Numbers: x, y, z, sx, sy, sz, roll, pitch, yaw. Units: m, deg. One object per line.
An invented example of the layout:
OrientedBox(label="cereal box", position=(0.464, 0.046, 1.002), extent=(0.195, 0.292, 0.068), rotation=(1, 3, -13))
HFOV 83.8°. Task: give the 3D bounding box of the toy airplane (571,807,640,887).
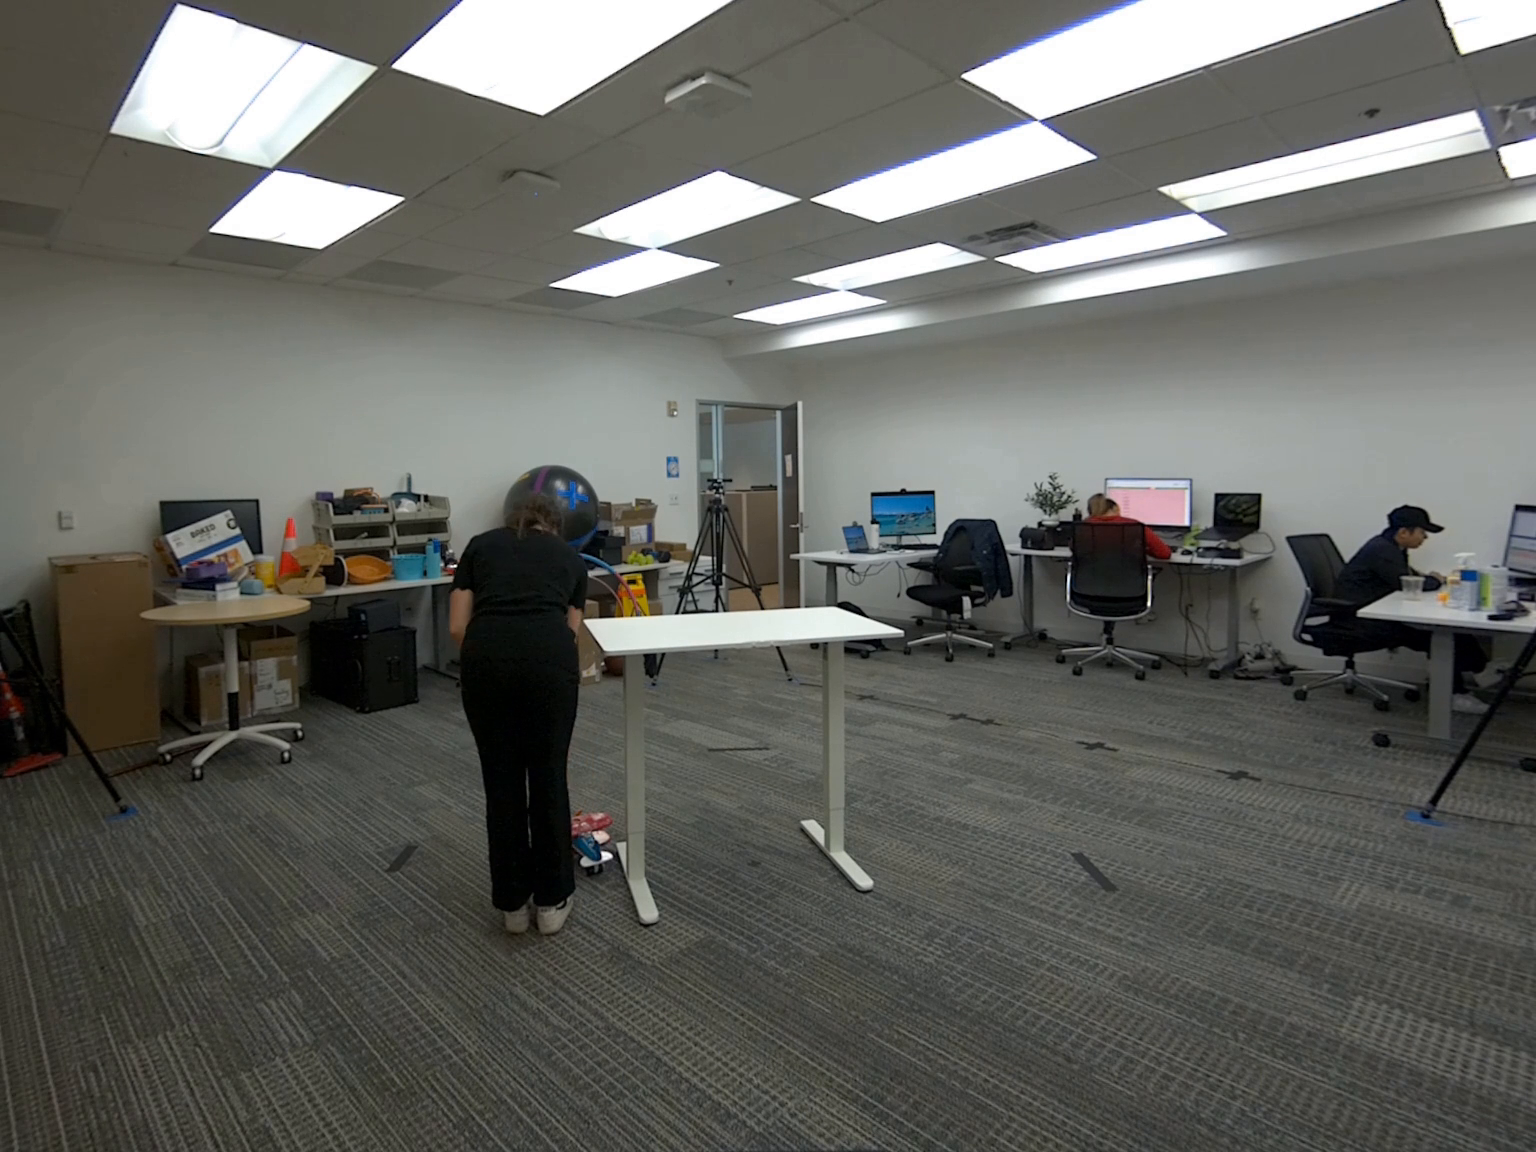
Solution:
OrientedBox(label="toy airplane", position=(-0.653, 0.980, 3.126), extent=(0.265, 0.156, 0.246), rotation=(-1, 5, 26))
